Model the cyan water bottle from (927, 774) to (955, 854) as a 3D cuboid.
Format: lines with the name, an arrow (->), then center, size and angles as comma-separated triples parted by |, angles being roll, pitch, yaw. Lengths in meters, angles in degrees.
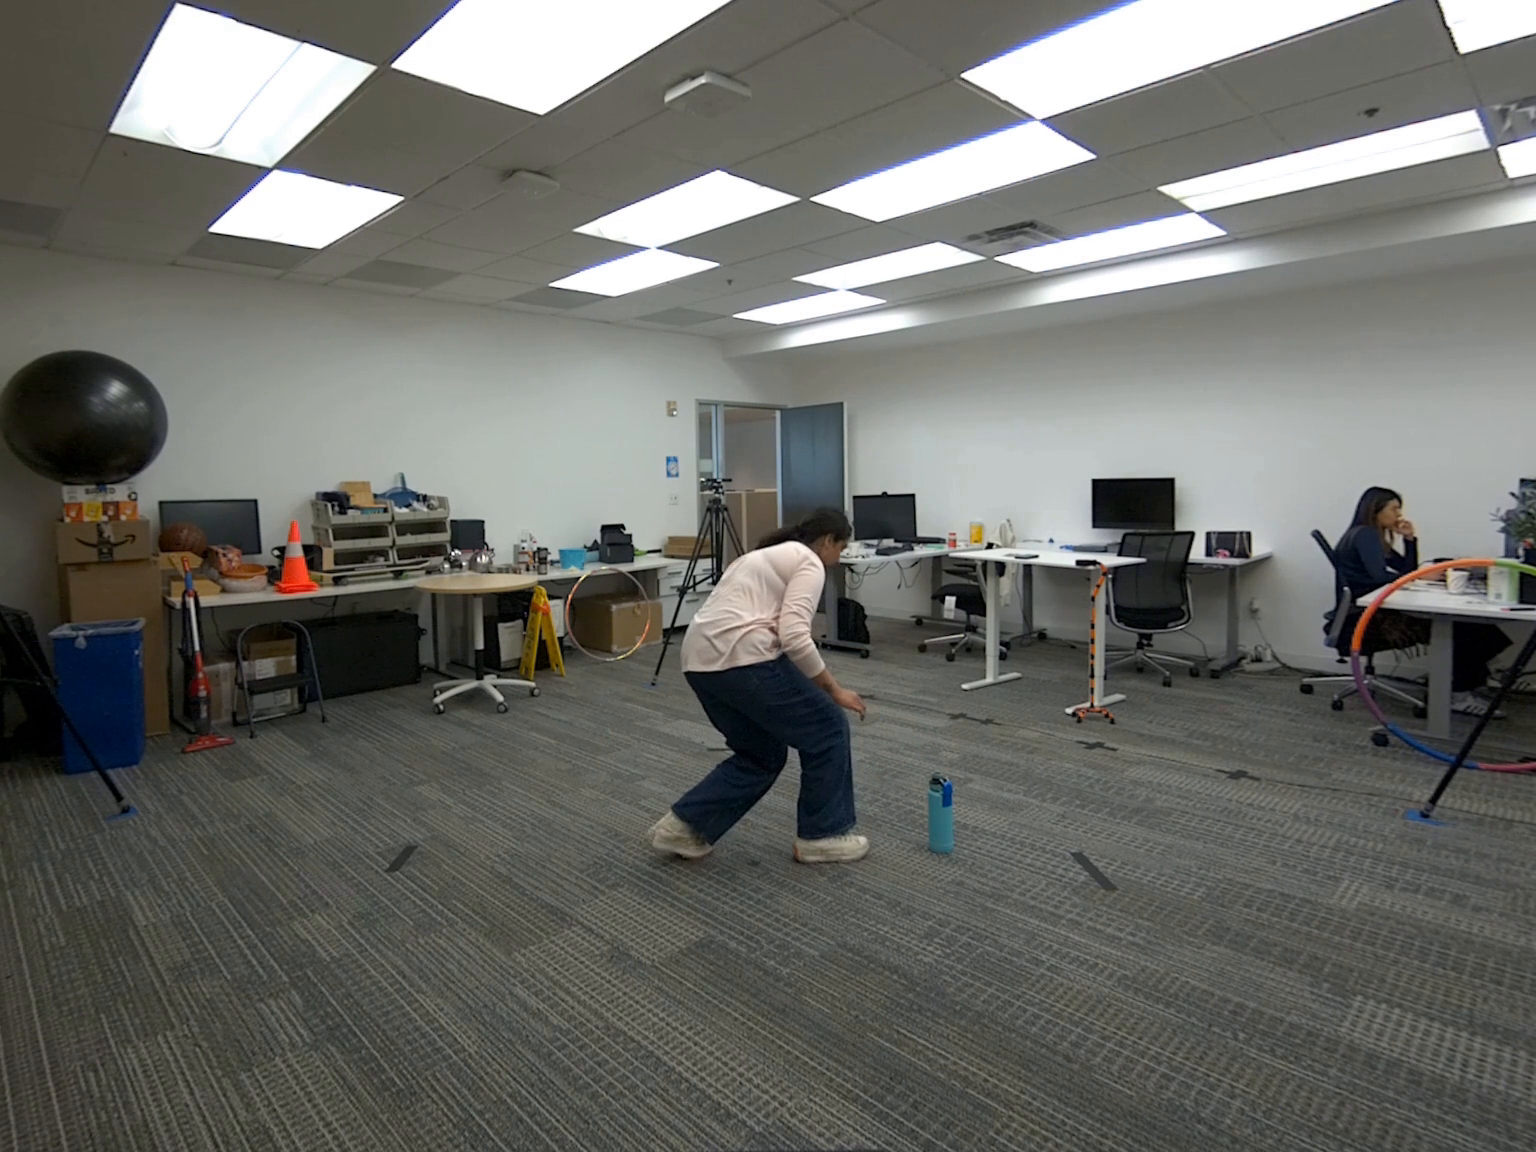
cyan water bottle -> 0.643, 0.875, 3.190 | 0.092, 0.282, 0.093 | -1, 4, -2
